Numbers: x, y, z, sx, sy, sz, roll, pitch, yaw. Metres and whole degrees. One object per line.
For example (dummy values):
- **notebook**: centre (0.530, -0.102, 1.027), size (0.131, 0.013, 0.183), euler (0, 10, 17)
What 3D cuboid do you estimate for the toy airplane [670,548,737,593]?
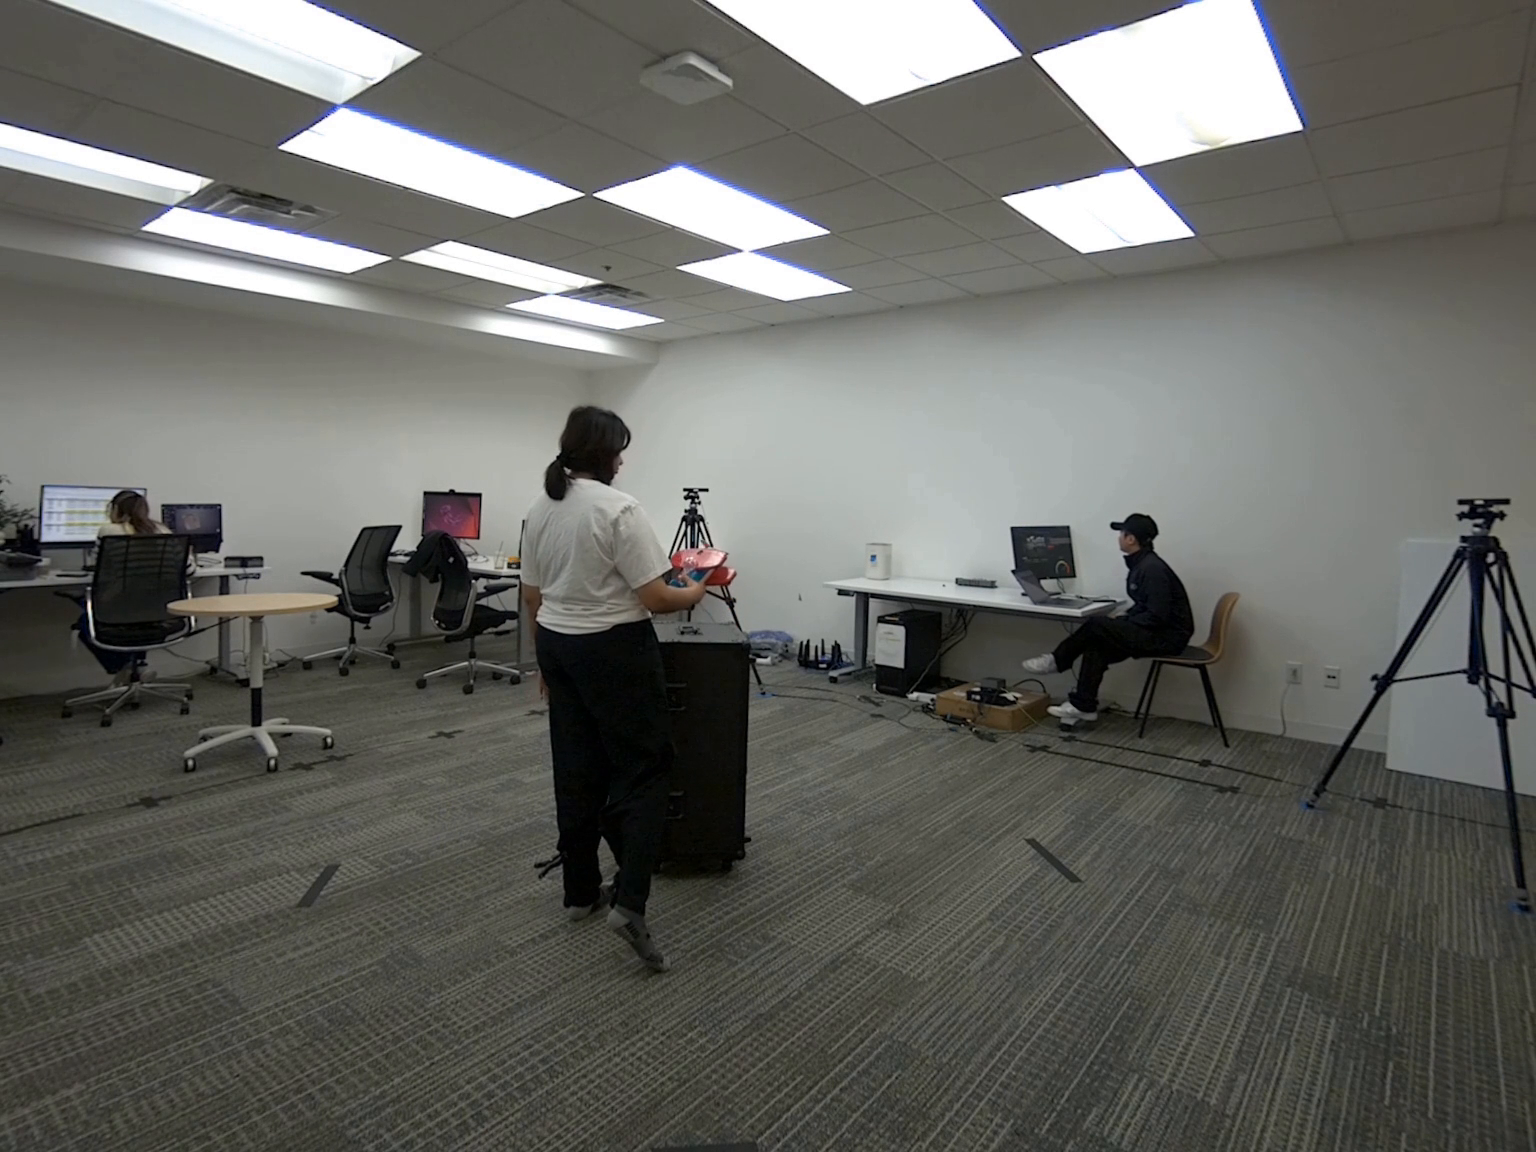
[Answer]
- **toy airplane**: centre (-0.249, 0.004, 2.996), size (0.255, 0.153, 0.261), euler (-11, 21, 16)
